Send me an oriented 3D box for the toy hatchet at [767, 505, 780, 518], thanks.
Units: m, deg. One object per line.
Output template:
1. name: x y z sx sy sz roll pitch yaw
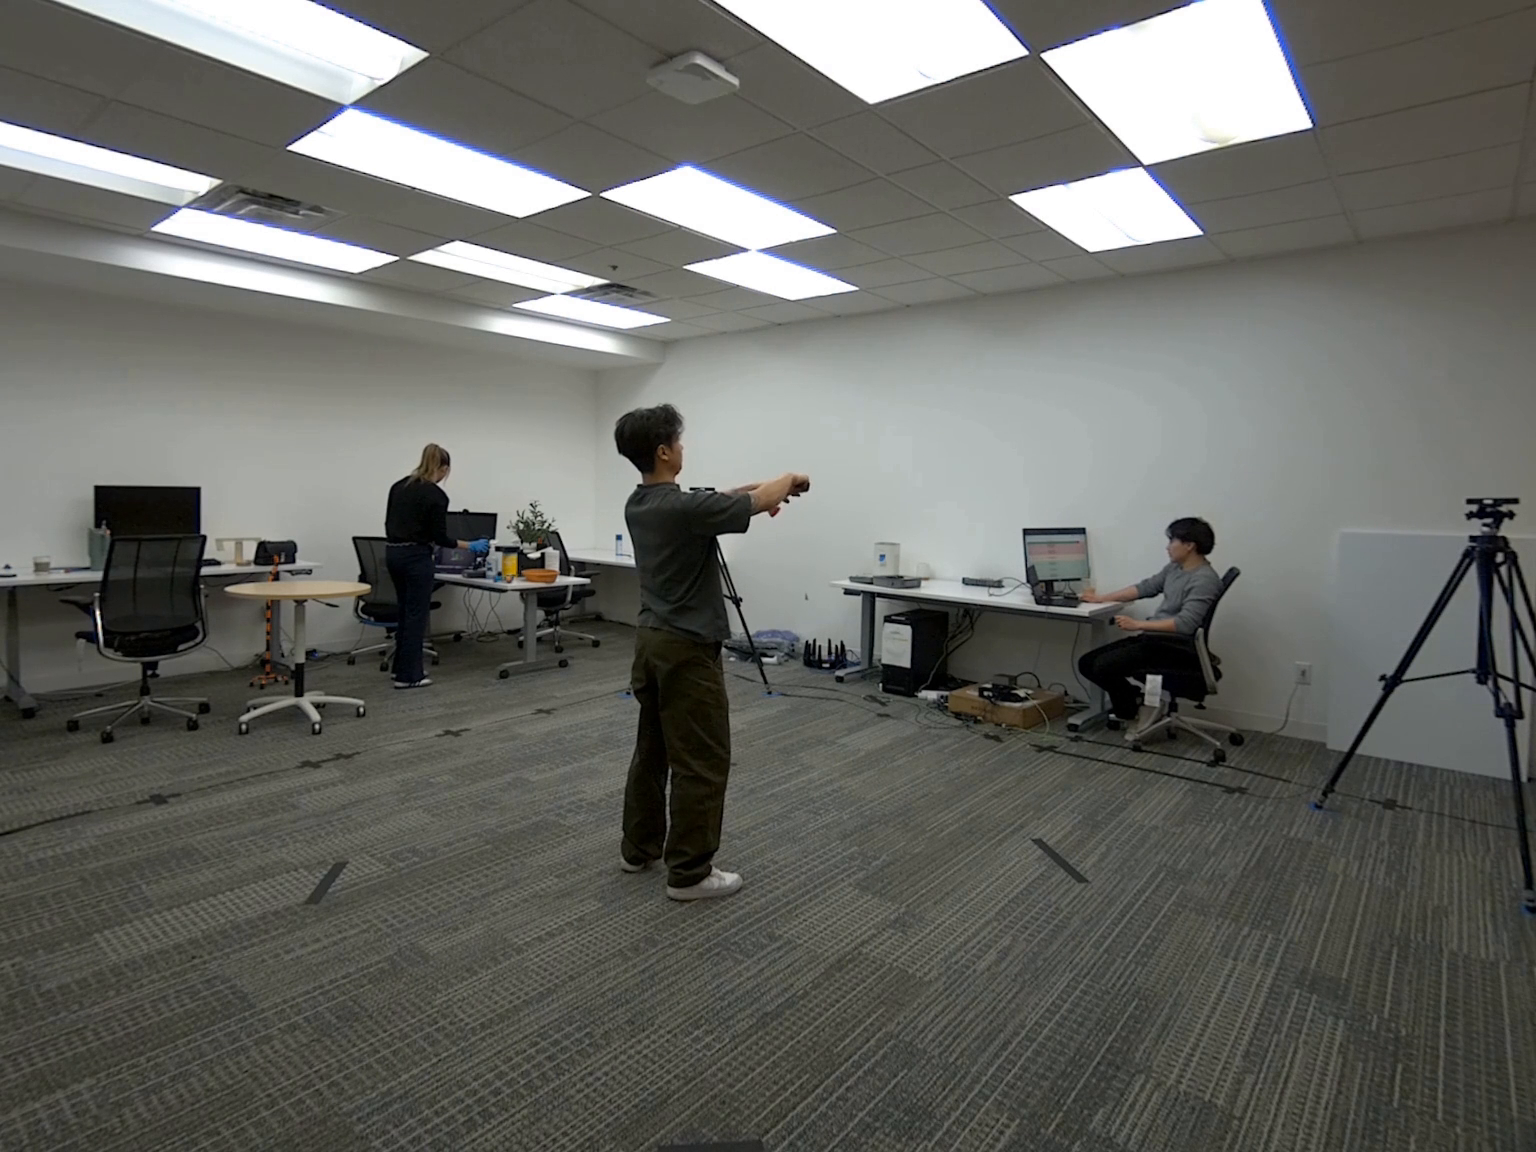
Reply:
1. toy hatchet: 0.044 -0.290 3.231 0.029 0.131 0.277 6 0 -25
